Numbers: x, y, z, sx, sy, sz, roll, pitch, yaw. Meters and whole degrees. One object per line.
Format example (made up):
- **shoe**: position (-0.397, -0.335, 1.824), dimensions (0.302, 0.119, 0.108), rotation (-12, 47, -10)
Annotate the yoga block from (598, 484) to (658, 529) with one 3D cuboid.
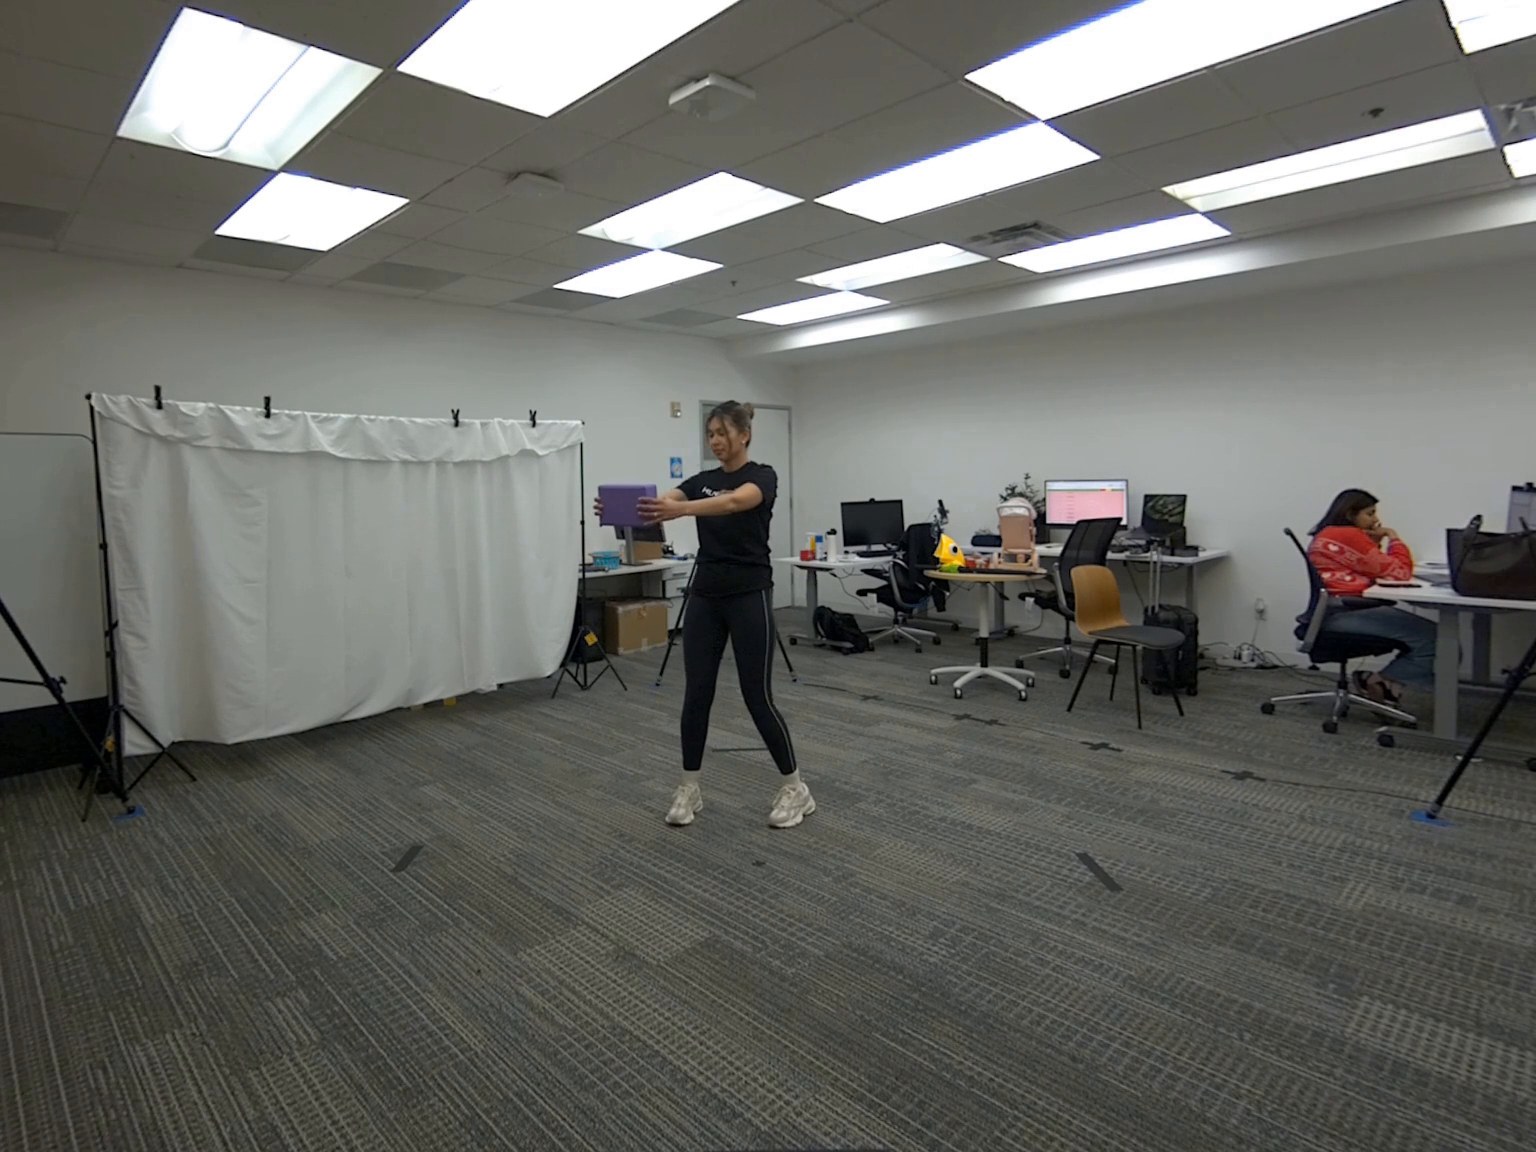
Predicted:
- **yoga block**: position (-0.499, -0.256, 3.084), dimensions (0.235, 0.148, 0.075), rotation (3, 7, 31)
